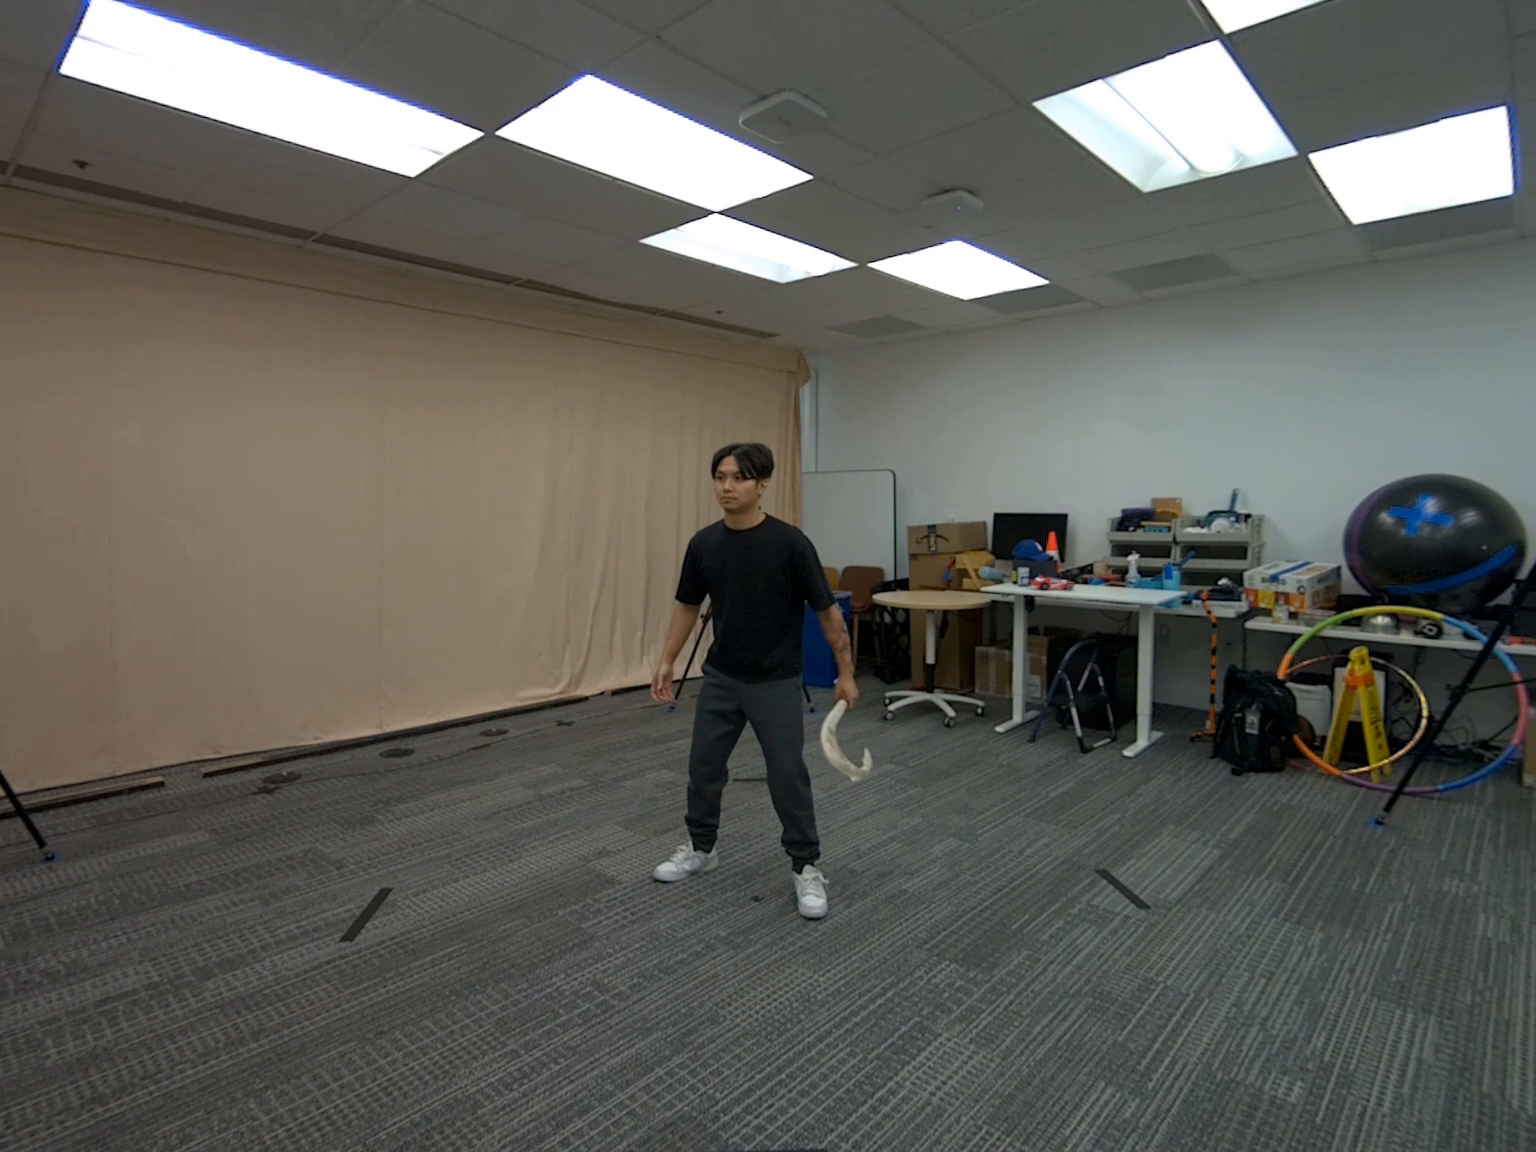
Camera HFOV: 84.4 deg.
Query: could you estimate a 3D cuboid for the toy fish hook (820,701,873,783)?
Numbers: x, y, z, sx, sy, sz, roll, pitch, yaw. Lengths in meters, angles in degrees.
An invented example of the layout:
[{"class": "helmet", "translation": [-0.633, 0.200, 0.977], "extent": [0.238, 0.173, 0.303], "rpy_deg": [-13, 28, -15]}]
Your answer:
[{"class": "toy fish hook", "translation": [0.269, 0.486, 2.880], "extent": [0.049, 0.221, 0.509], "rpy_deg": [-37, 16, 28]}]
